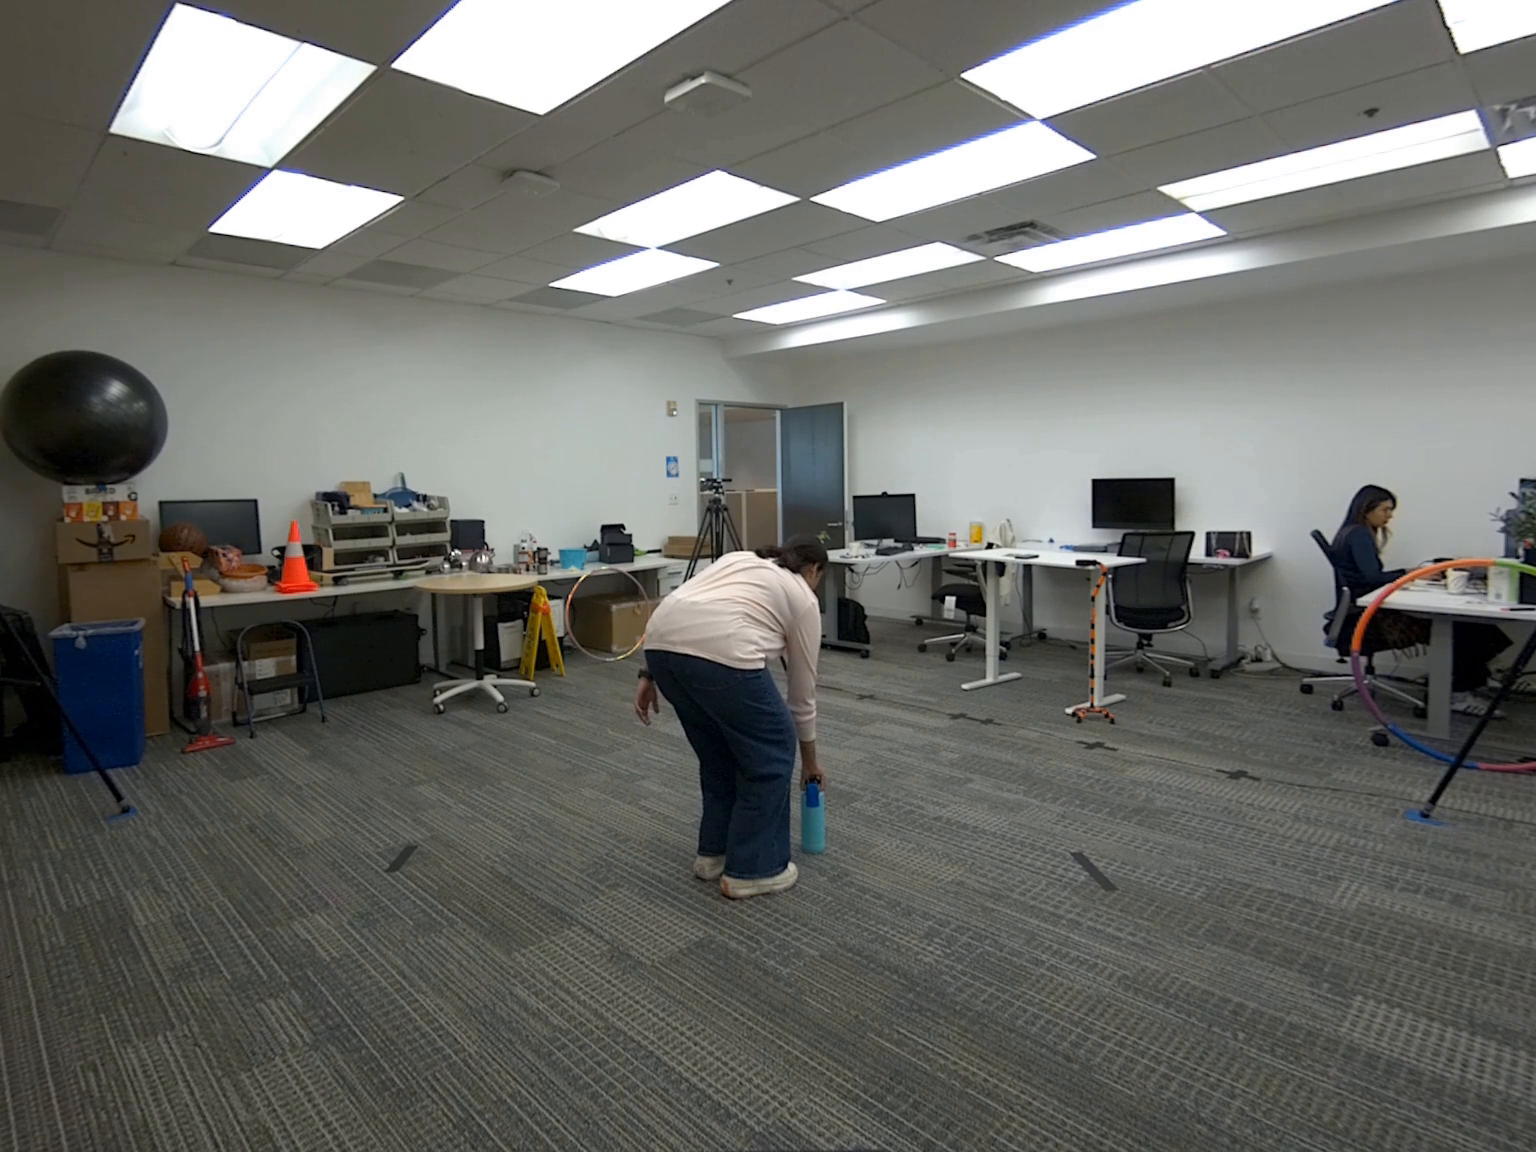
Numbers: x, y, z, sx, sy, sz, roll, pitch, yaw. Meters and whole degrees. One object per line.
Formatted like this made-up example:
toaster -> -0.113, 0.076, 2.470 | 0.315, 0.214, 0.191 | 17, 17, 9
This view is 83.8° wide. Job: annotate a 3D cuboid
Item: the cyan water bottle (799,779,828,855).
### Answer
cyan water bottle -> 0.167, 0.884, 3.213 | 0.092, 0.282, 0.093 | -2, 3, -1
